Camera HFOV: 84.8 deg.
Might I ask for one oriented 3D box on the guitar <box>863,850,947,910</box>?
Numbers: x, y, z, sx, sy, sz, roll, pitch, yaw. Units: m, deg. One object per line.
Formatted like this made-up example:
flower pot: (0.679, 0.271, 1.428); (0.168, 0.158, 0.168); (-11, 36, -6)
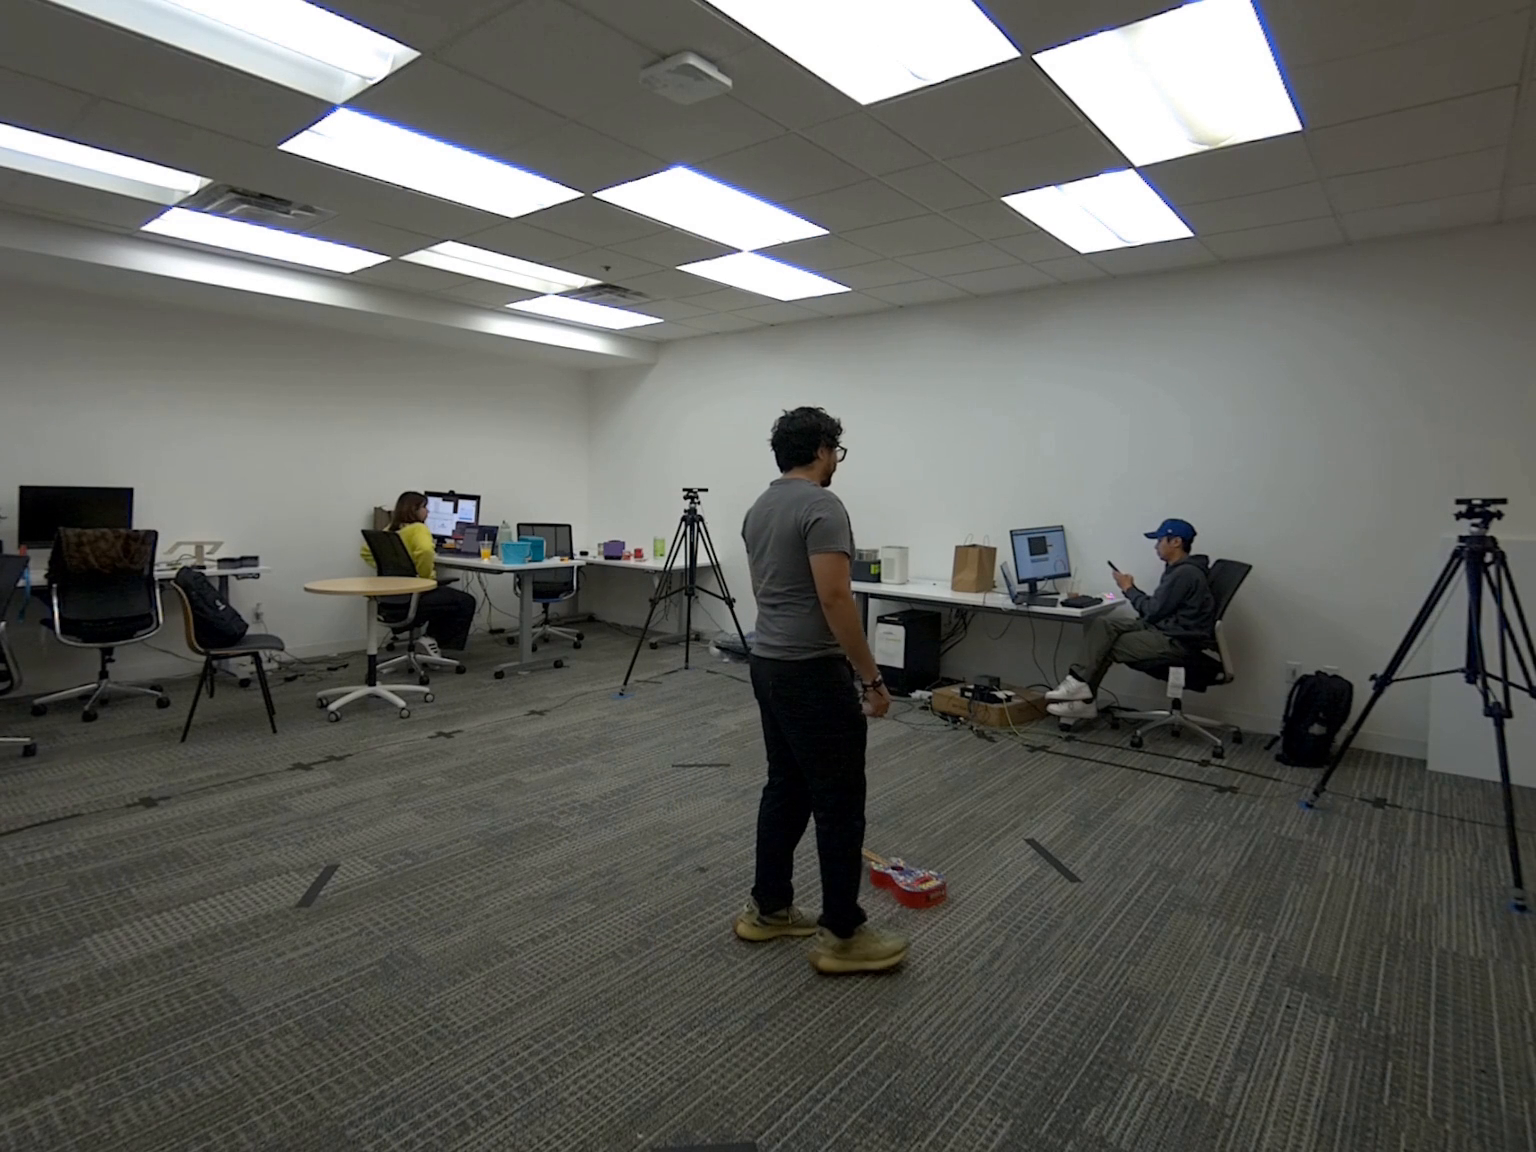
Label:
guitar: (0.428, 1.051, 3.095); (0.188, 0.070, 0.513); (-3, 7, -30)
